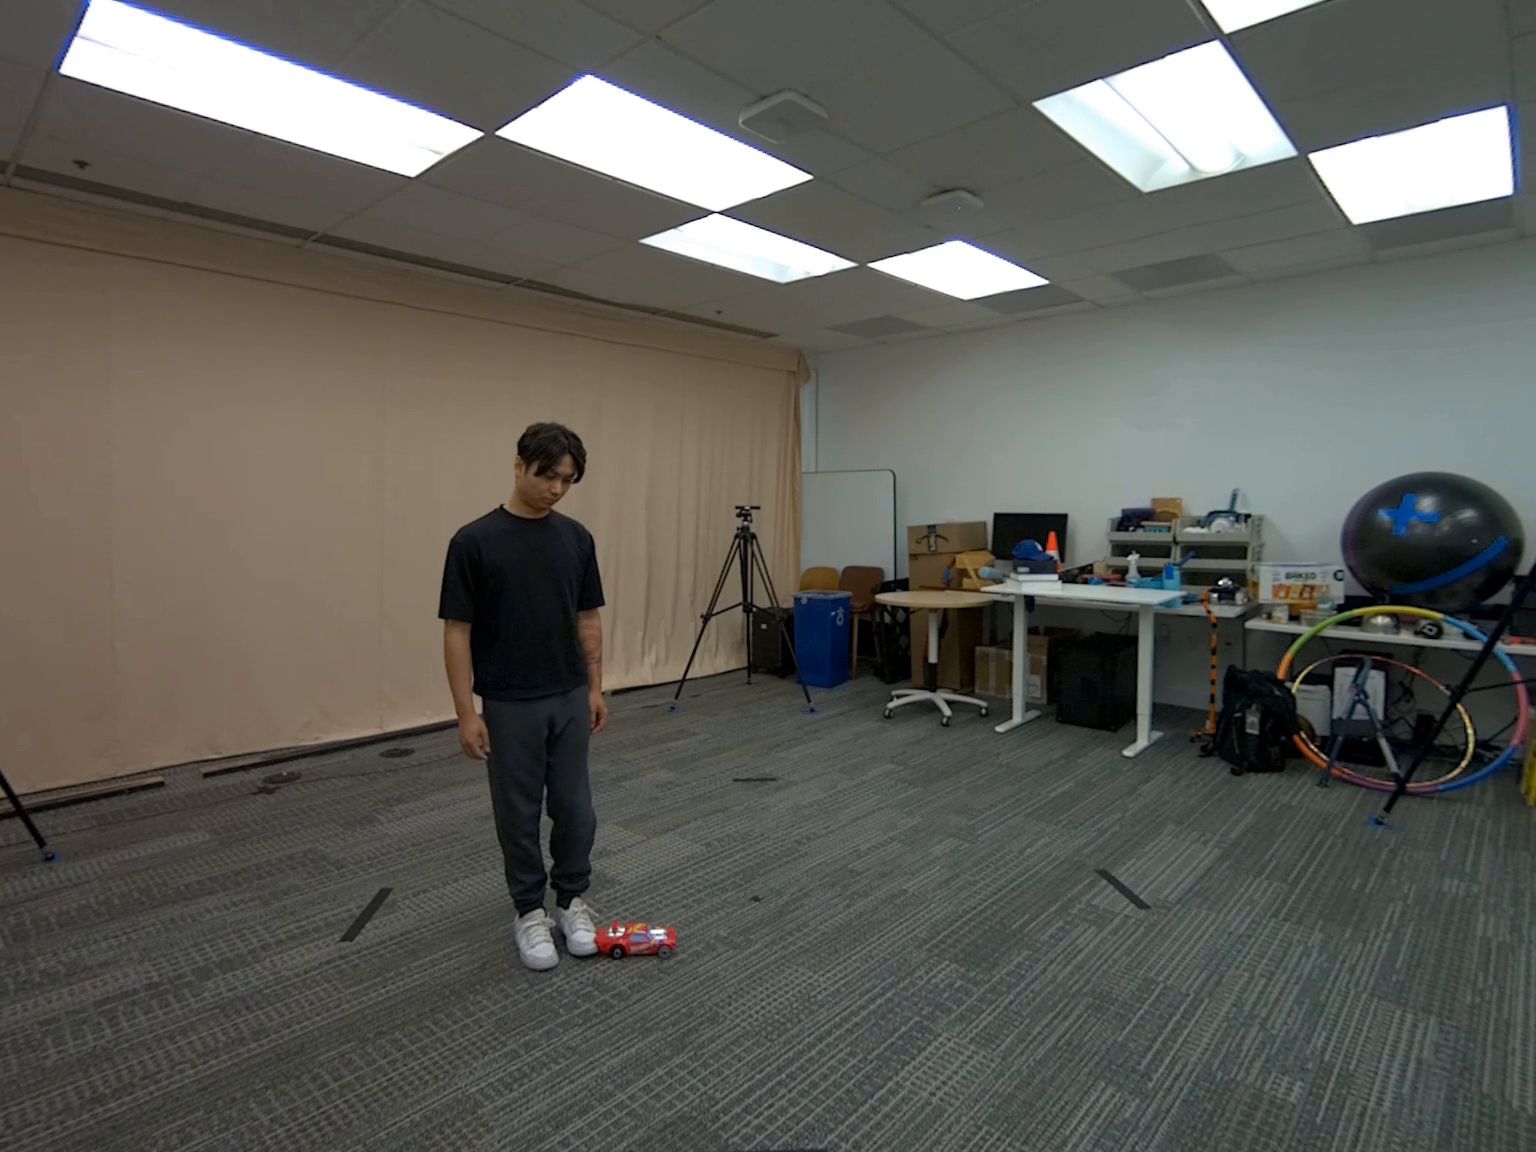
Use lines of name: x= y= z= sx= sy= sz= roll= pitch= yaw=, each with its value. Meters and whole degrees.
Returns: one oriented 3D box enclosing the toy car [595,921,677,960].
toy car: x=-0.418 y=1.147 z=2.627 sx=0.254 sy=0.083 sz=0.131 roll=11 pitch=3 yaw=-3
